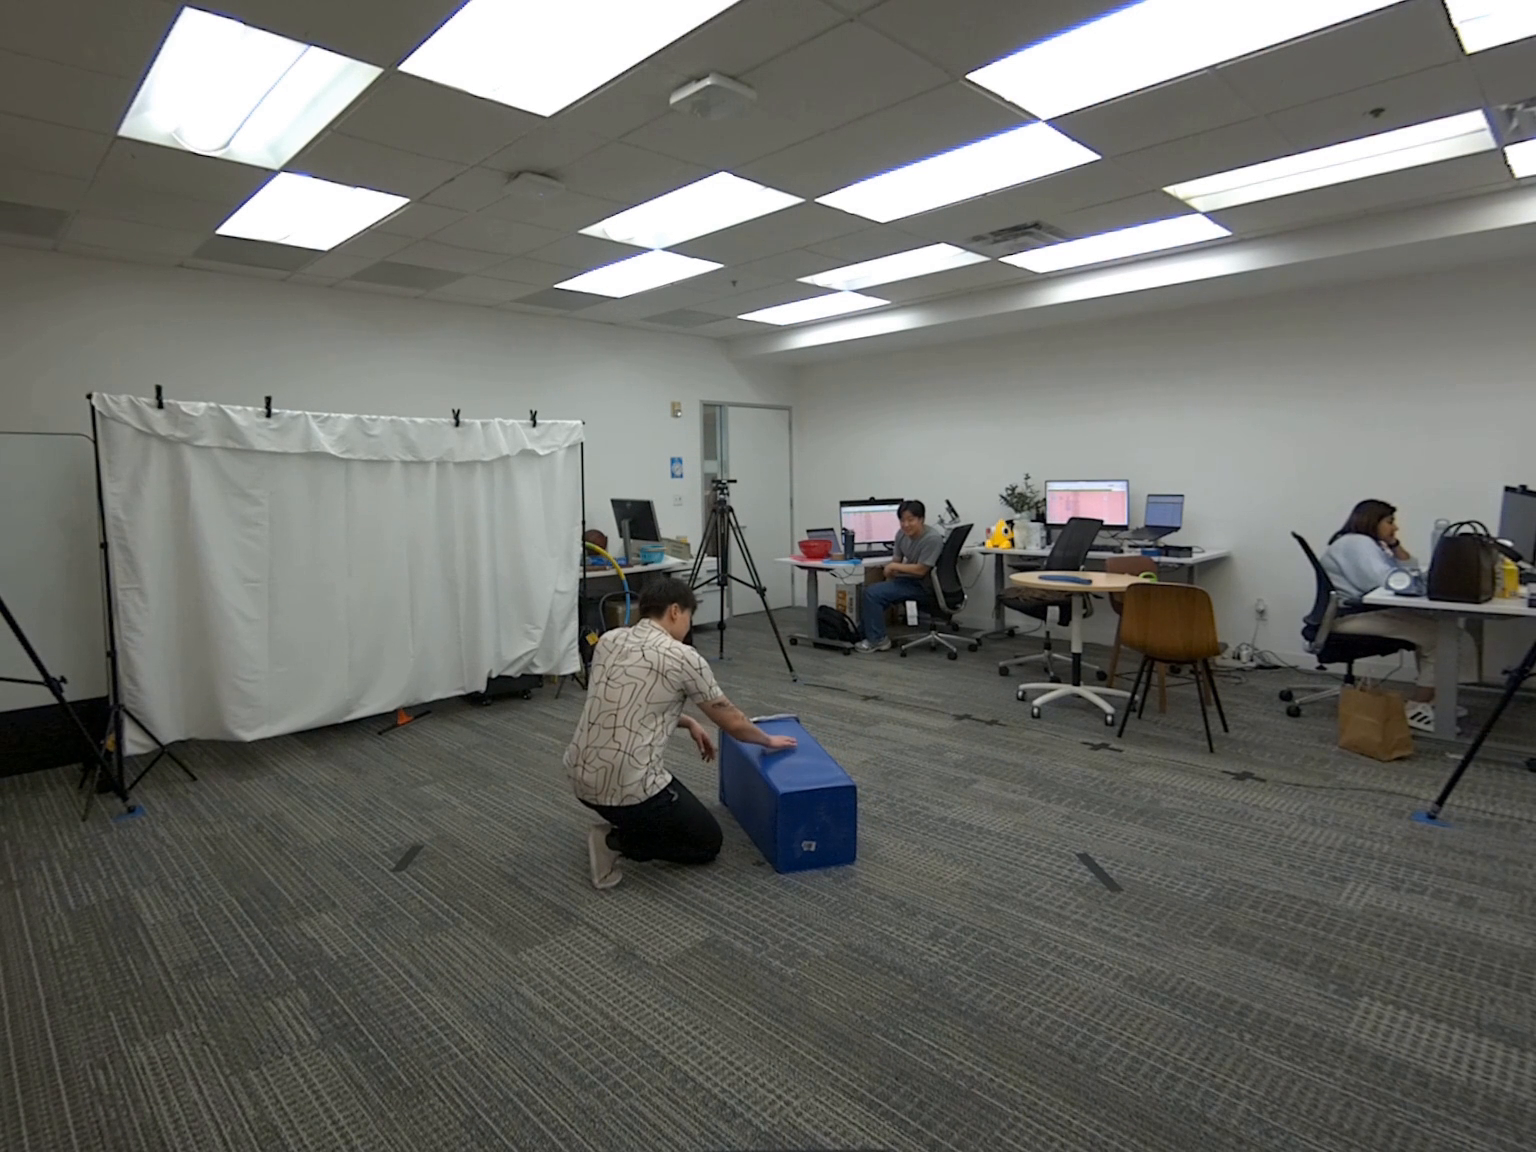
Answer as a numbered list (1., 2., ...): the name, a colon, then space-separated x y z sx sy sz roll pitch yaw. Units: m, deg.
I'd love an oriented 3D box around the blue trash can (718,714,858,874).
1. blue trash can: 0.065 0.848 3.382 0.373 0.371 0.729 -3 10 -17
